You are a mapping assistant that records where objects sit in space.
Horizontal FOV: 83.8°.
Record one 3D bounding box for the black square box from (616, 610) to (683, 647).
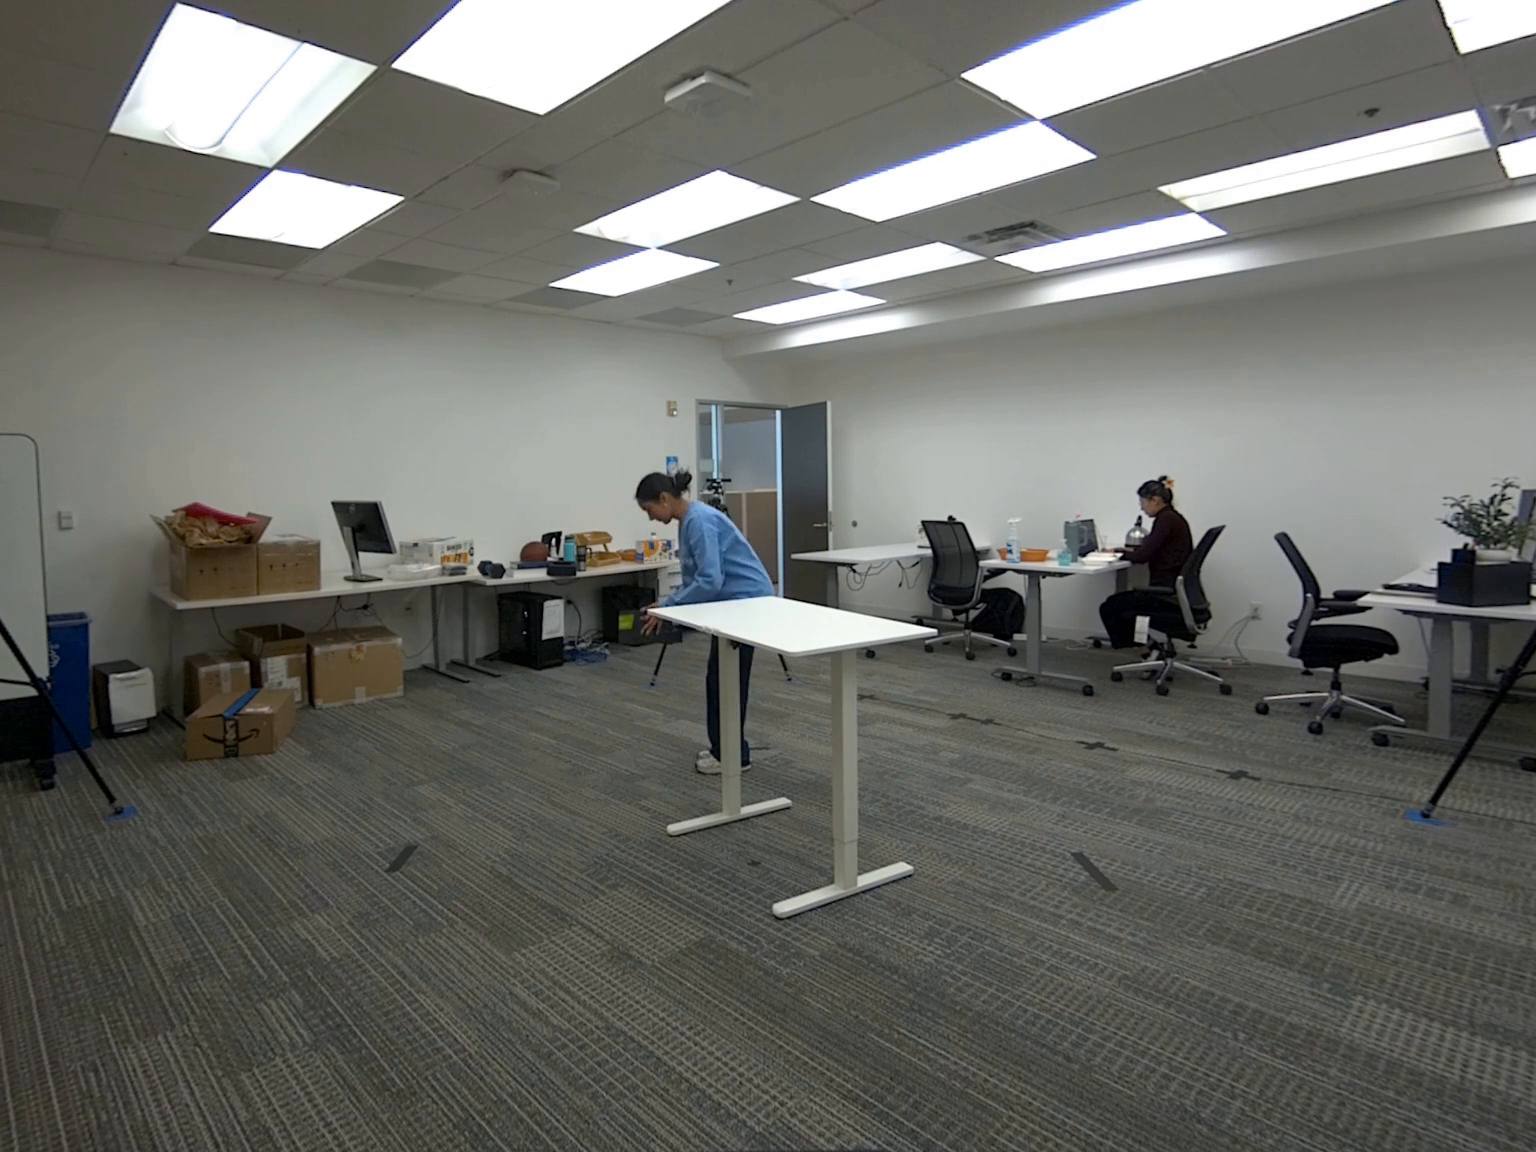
[{"bbox_3d":[-0.564,0.252,4.105,0.210,0.156,0.234,1,-4,-43],"label":"black square box"}]
